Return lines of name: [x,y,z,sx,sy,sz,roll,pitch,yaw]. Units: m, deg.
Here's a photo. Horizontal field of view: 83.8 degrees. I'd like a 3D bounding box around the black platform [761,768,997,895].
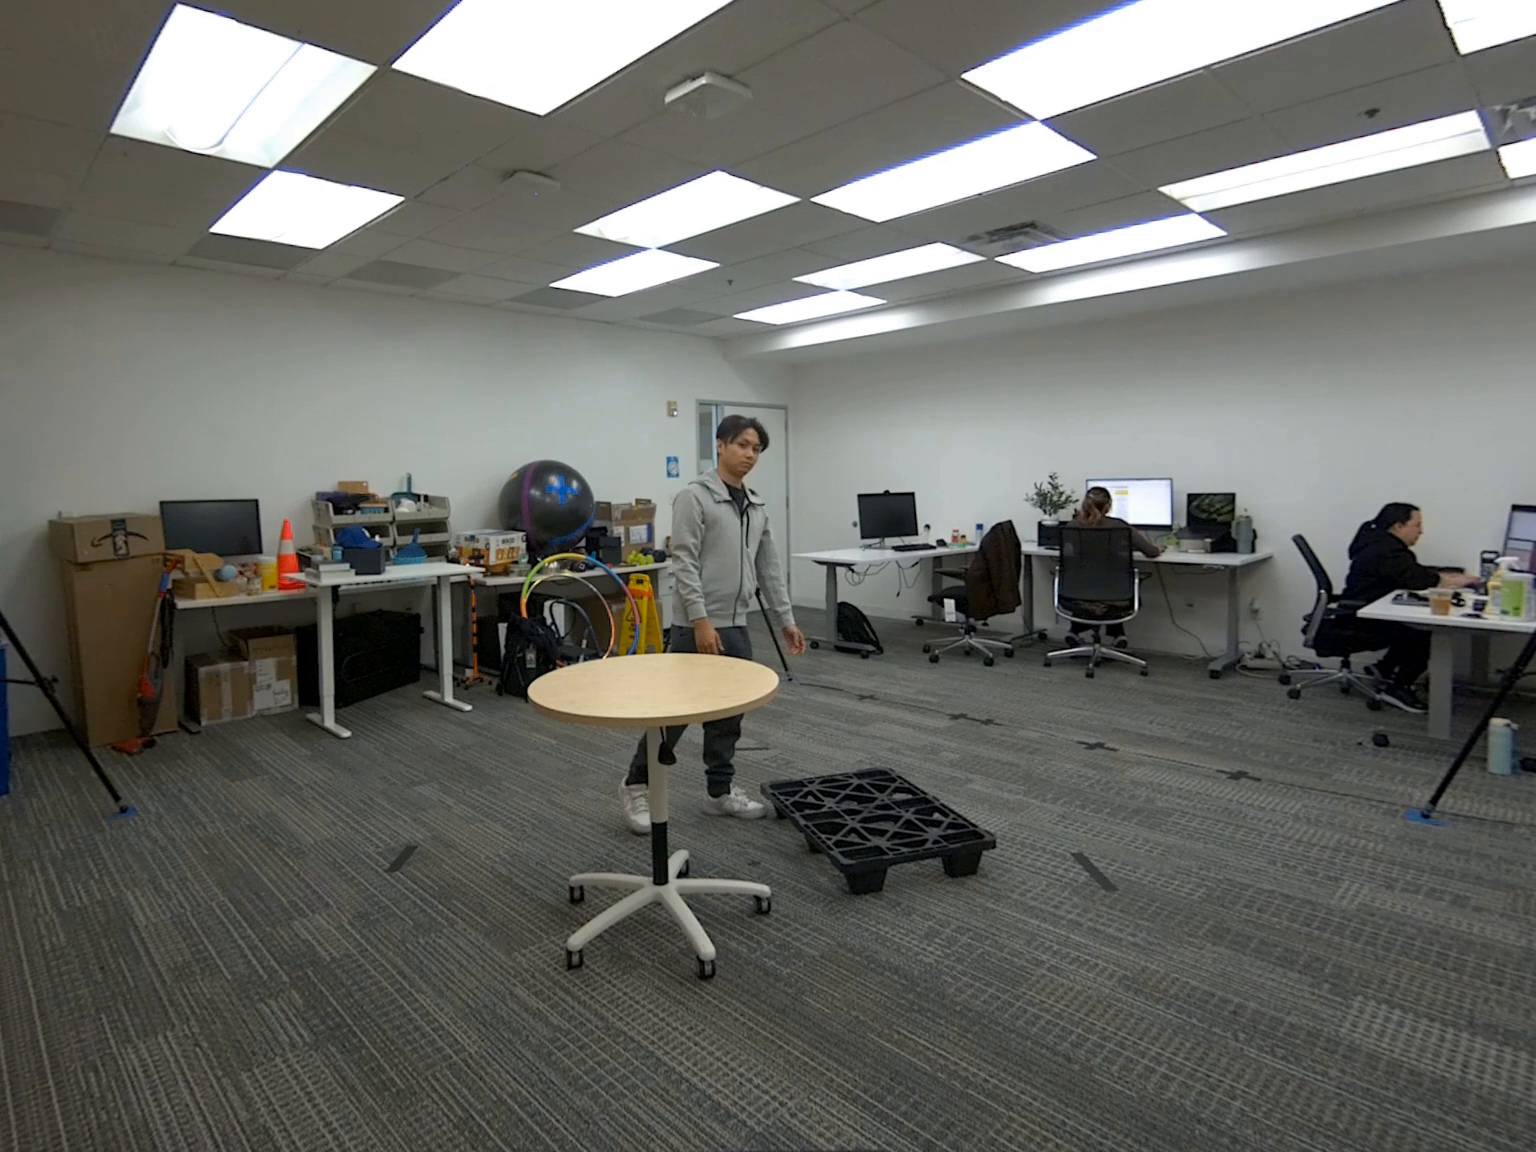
black platform: [0.383,0.953,3.256,0.595,0.143,0.822,-4,7,-19]
